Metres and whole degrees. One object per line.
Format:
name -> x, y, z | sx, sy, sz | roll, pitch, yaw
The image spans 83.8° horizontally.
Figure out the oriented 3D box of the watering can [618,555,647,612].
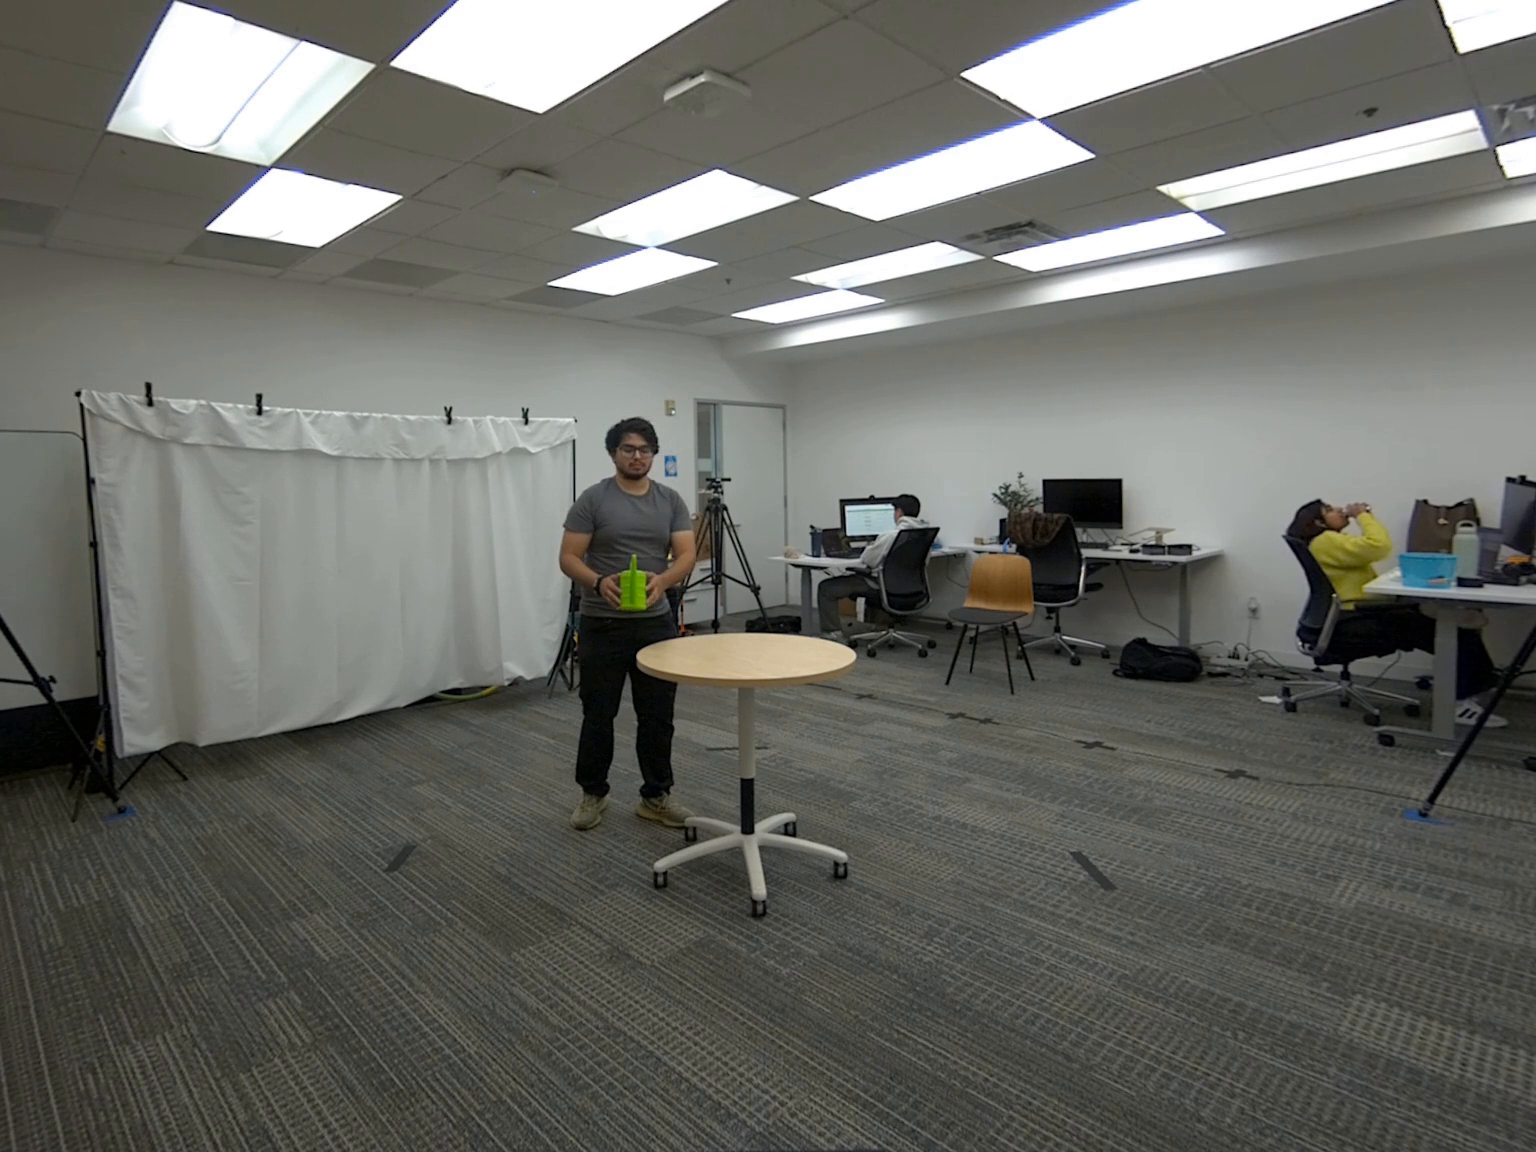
watering can -> -0.501, 0.033, 3.062 | 0.098, 0.178, 0.274 | -2, -8, 5
